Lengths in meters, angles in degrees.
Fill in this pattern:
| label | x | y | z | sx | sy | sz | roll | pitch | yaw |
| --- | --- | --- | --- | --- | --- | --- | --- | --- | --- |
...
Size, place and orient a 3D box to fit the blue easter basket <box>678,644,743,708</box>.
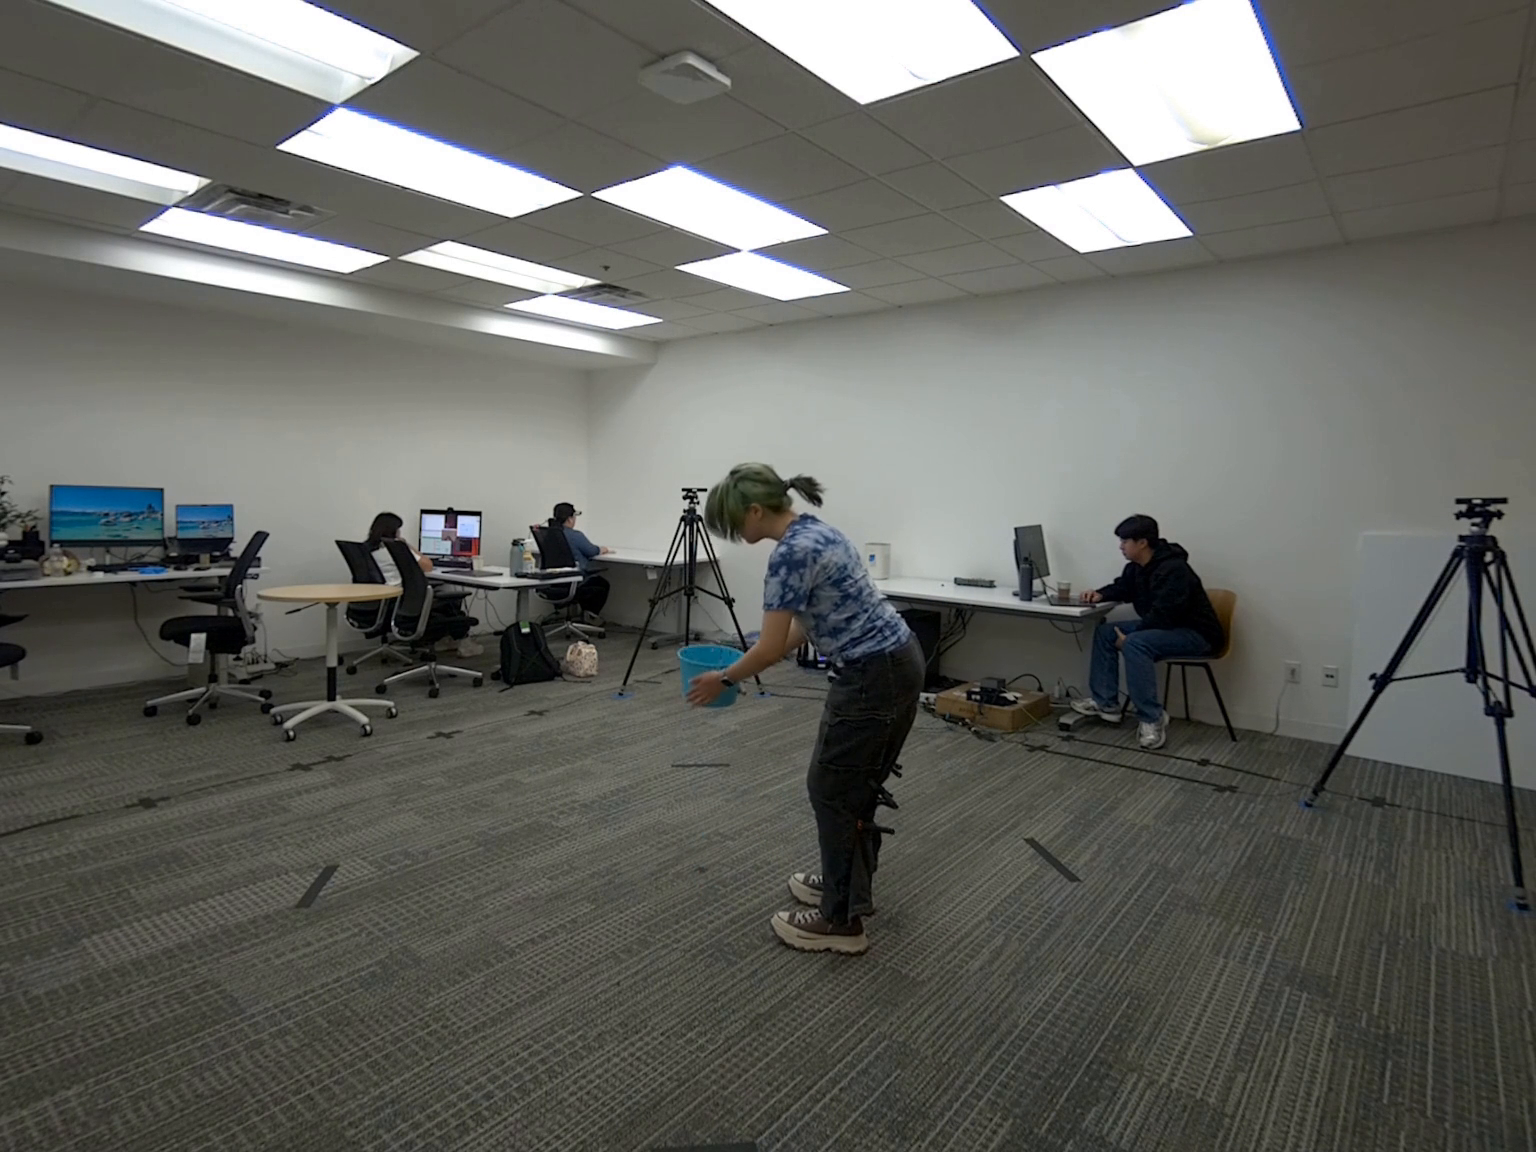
| label | x | y | z | sx | sy | sz | roll | pitch | yaw |
| --- | --- | --- | --- | --- | --- | --- | --- | --- | --- |
| blue easter basket | -0.196 | 0.346 | 2.852 | 0.243 | 0.155 | 0.246 | 3 | 9 | -2 |
